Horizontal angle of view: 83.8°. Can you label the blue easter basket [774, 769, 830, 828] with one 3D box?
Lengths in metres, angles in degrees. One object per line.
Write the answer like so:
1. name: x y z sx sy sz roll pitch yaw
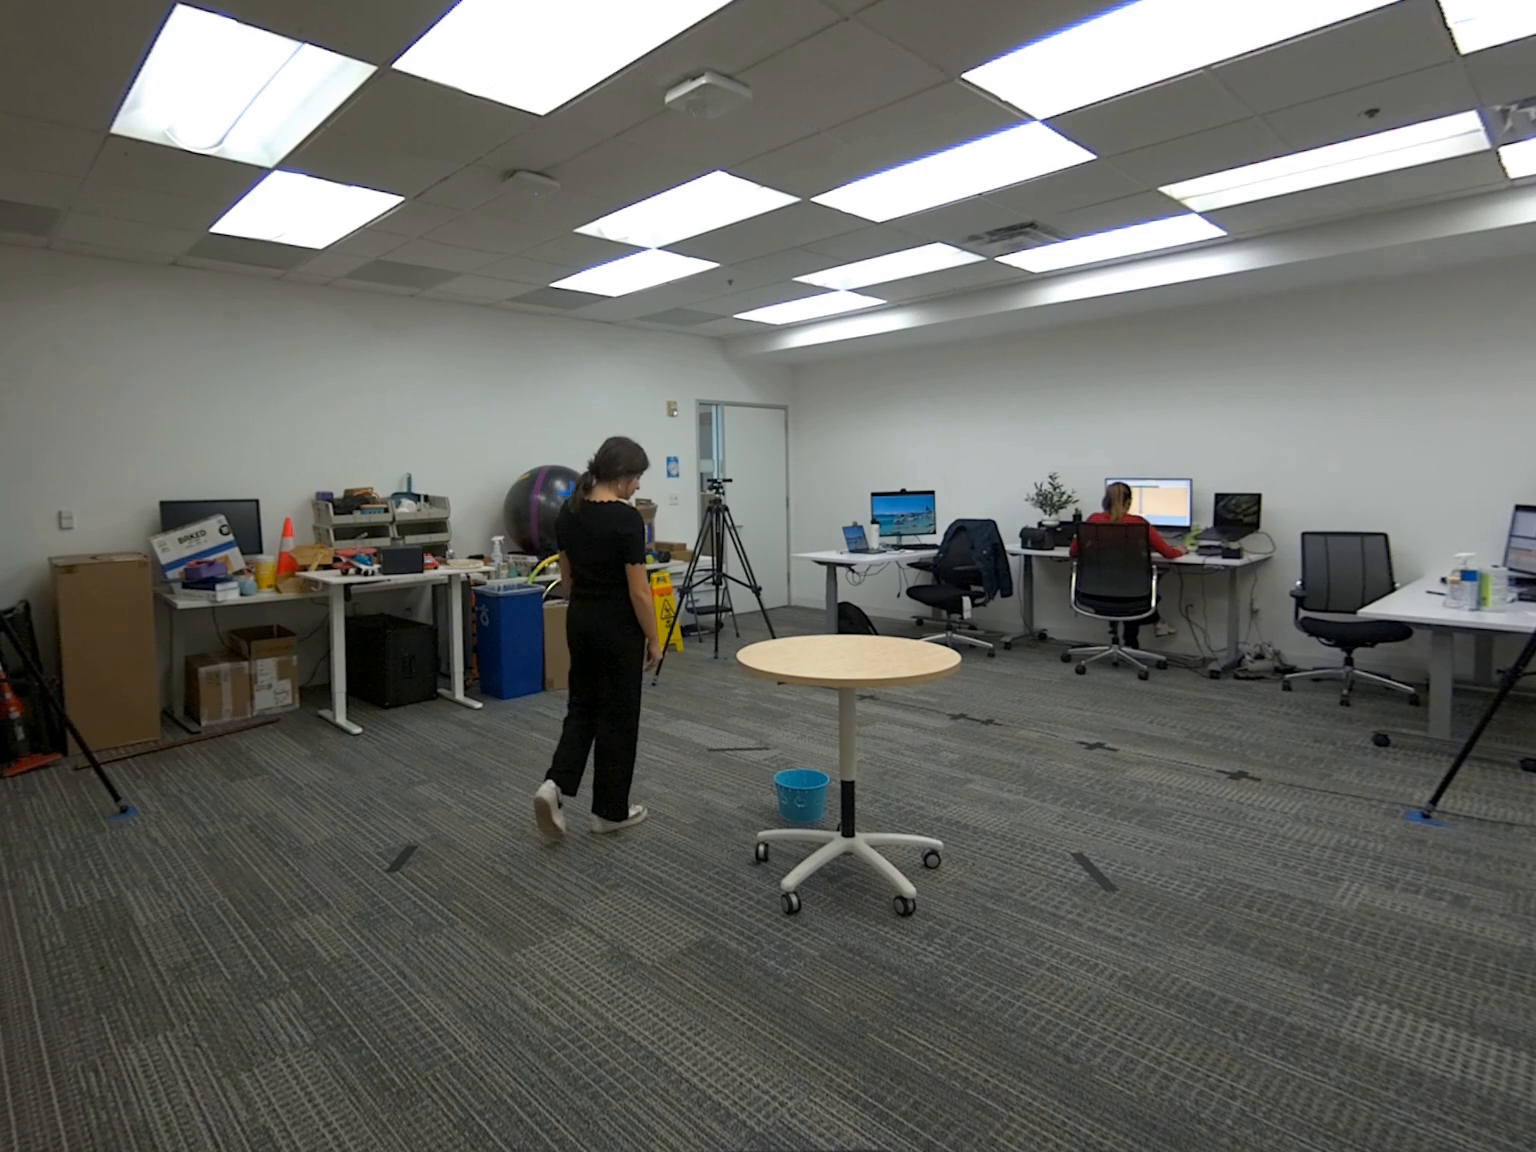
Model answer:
1. blue easter basket: 0.135 0.909 3.537 0.243 0.155 0.245 -1 6 -2
